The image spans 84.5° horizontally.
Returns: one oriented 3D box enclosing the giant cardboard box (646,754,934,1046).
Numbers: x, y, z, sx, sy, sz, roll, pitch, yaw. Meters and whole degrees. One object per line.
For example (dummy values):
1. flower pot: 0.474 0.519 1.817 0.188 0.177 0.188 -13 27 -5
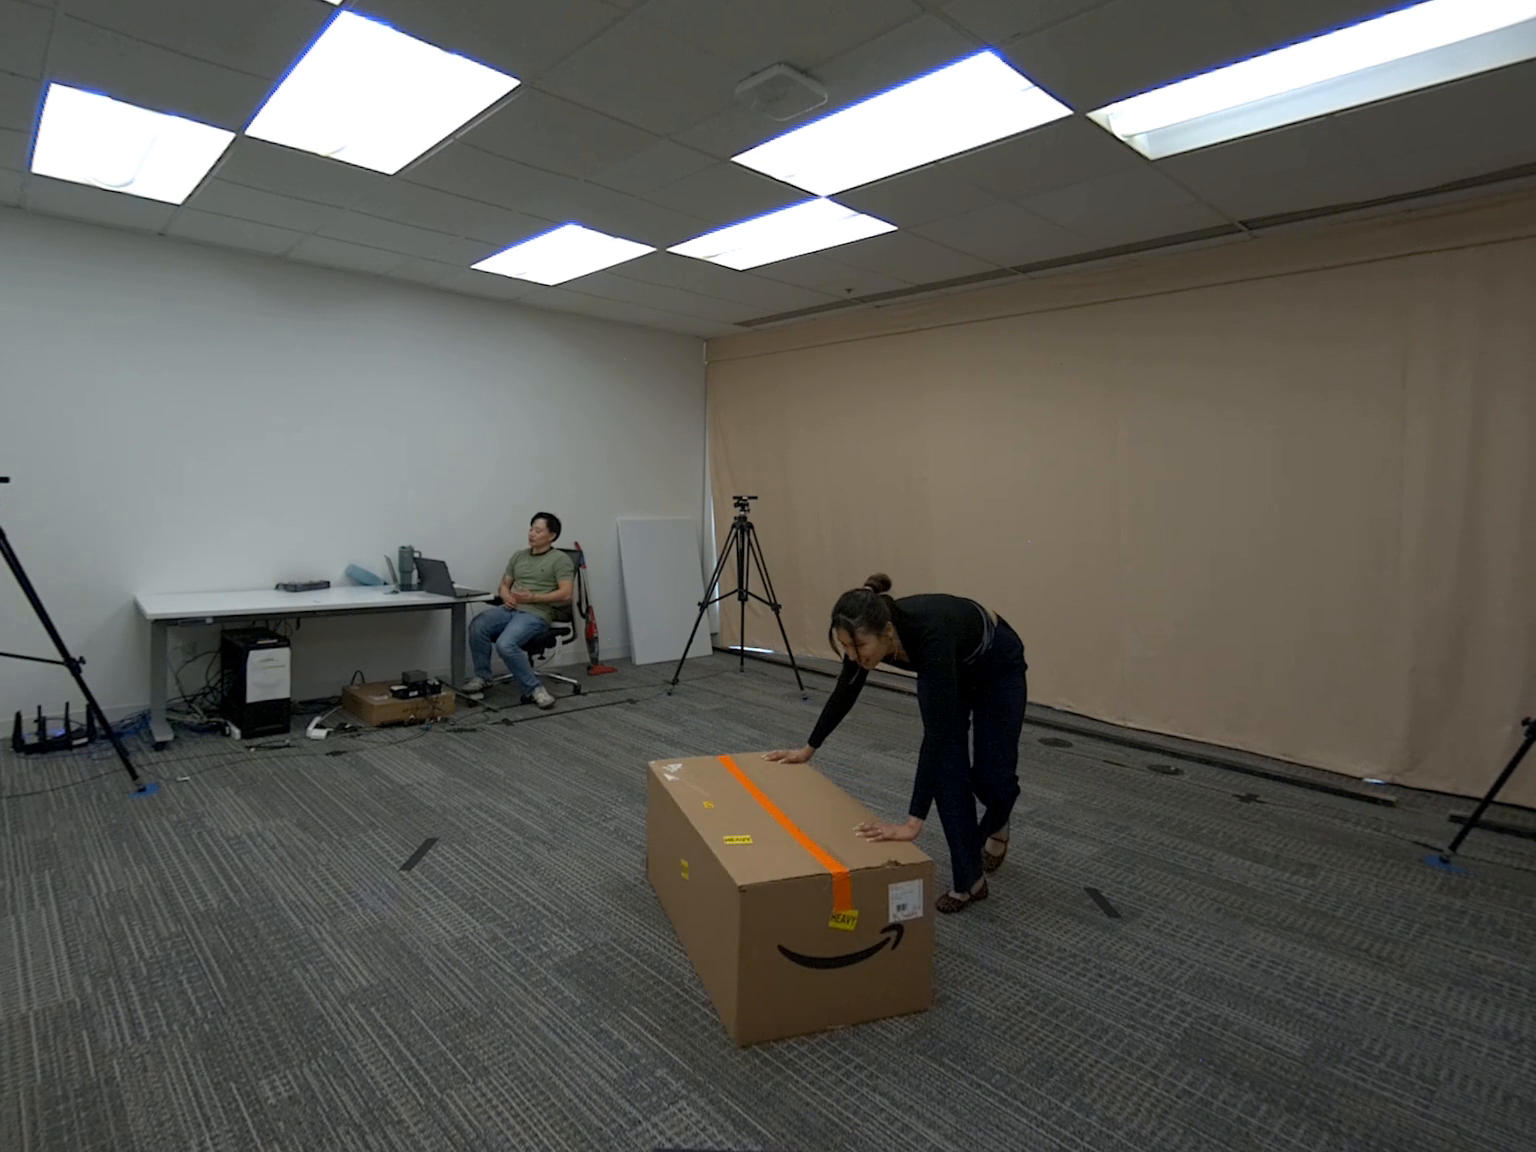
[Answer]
1. giant cardboard box: -0.002 0.932 2.685 0.568 0.425 1.044 0 5 -21
